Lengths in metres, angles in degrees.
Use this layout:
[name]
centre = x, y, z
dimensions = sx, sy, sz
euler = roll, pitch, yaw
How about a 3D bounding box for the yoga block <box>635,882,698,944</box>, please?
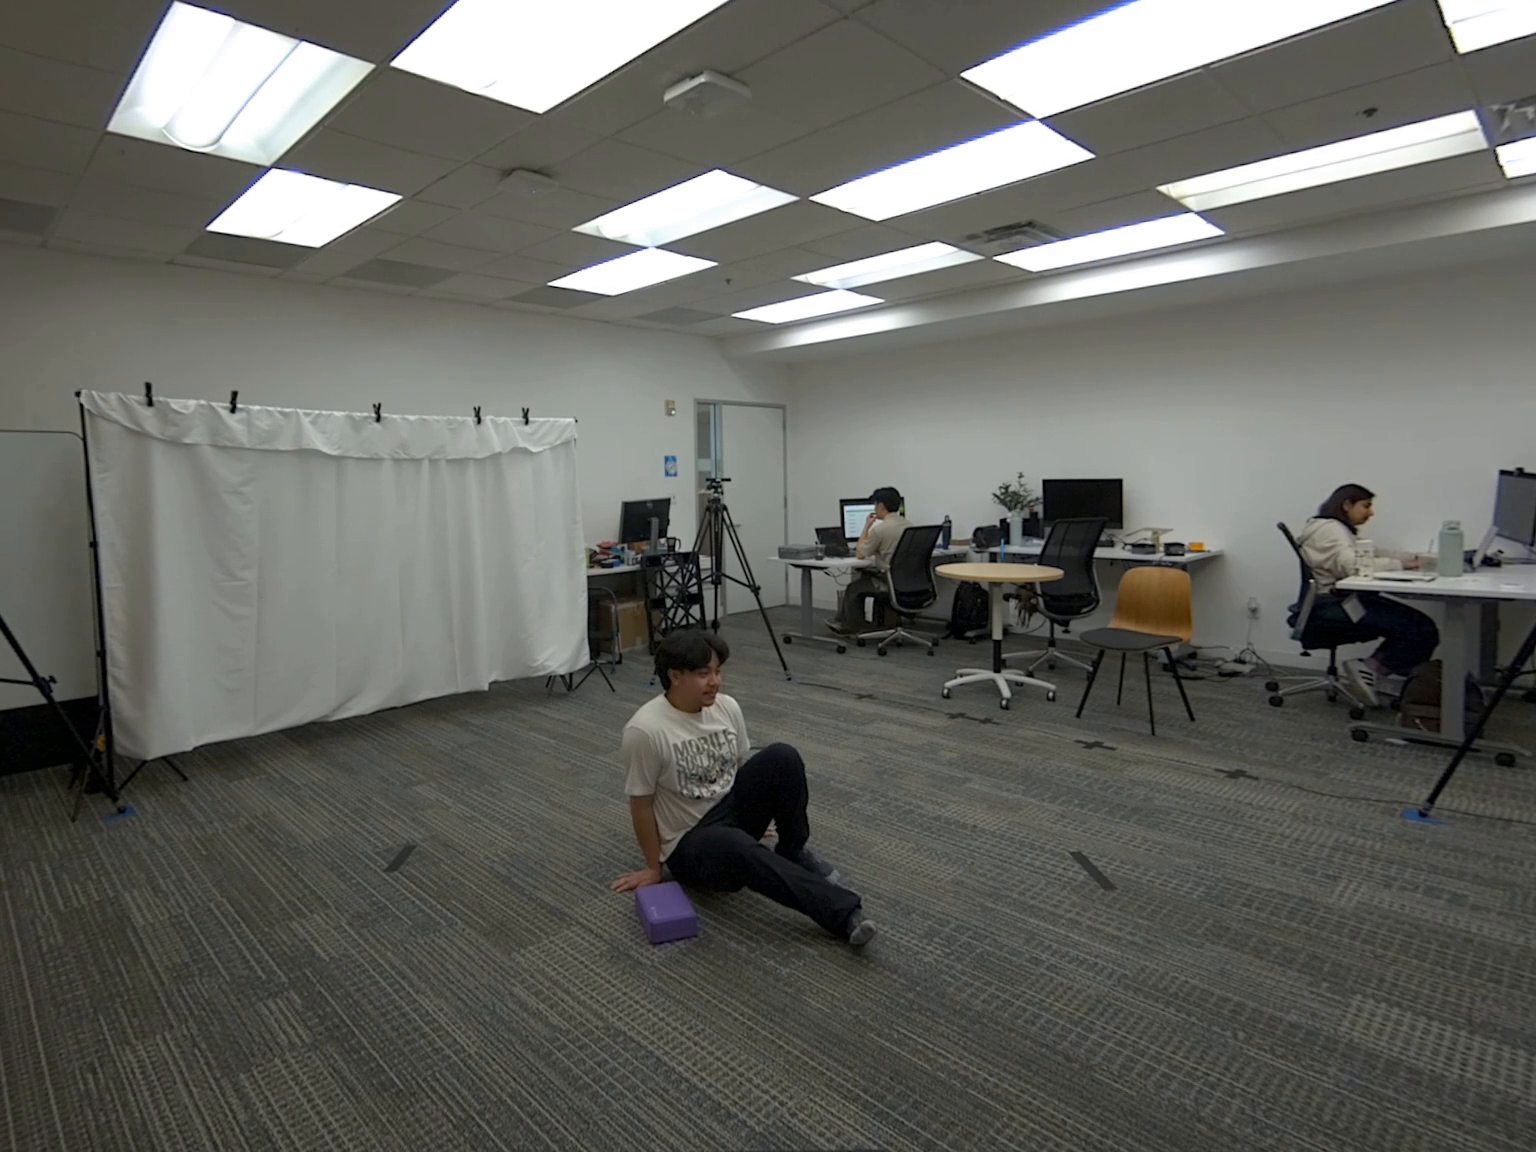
[yoga block]
centre = -0.324, 1.060, 2.692
dimensions = 0.146, 0.076, 0.234
euler = -3, 7, -20
